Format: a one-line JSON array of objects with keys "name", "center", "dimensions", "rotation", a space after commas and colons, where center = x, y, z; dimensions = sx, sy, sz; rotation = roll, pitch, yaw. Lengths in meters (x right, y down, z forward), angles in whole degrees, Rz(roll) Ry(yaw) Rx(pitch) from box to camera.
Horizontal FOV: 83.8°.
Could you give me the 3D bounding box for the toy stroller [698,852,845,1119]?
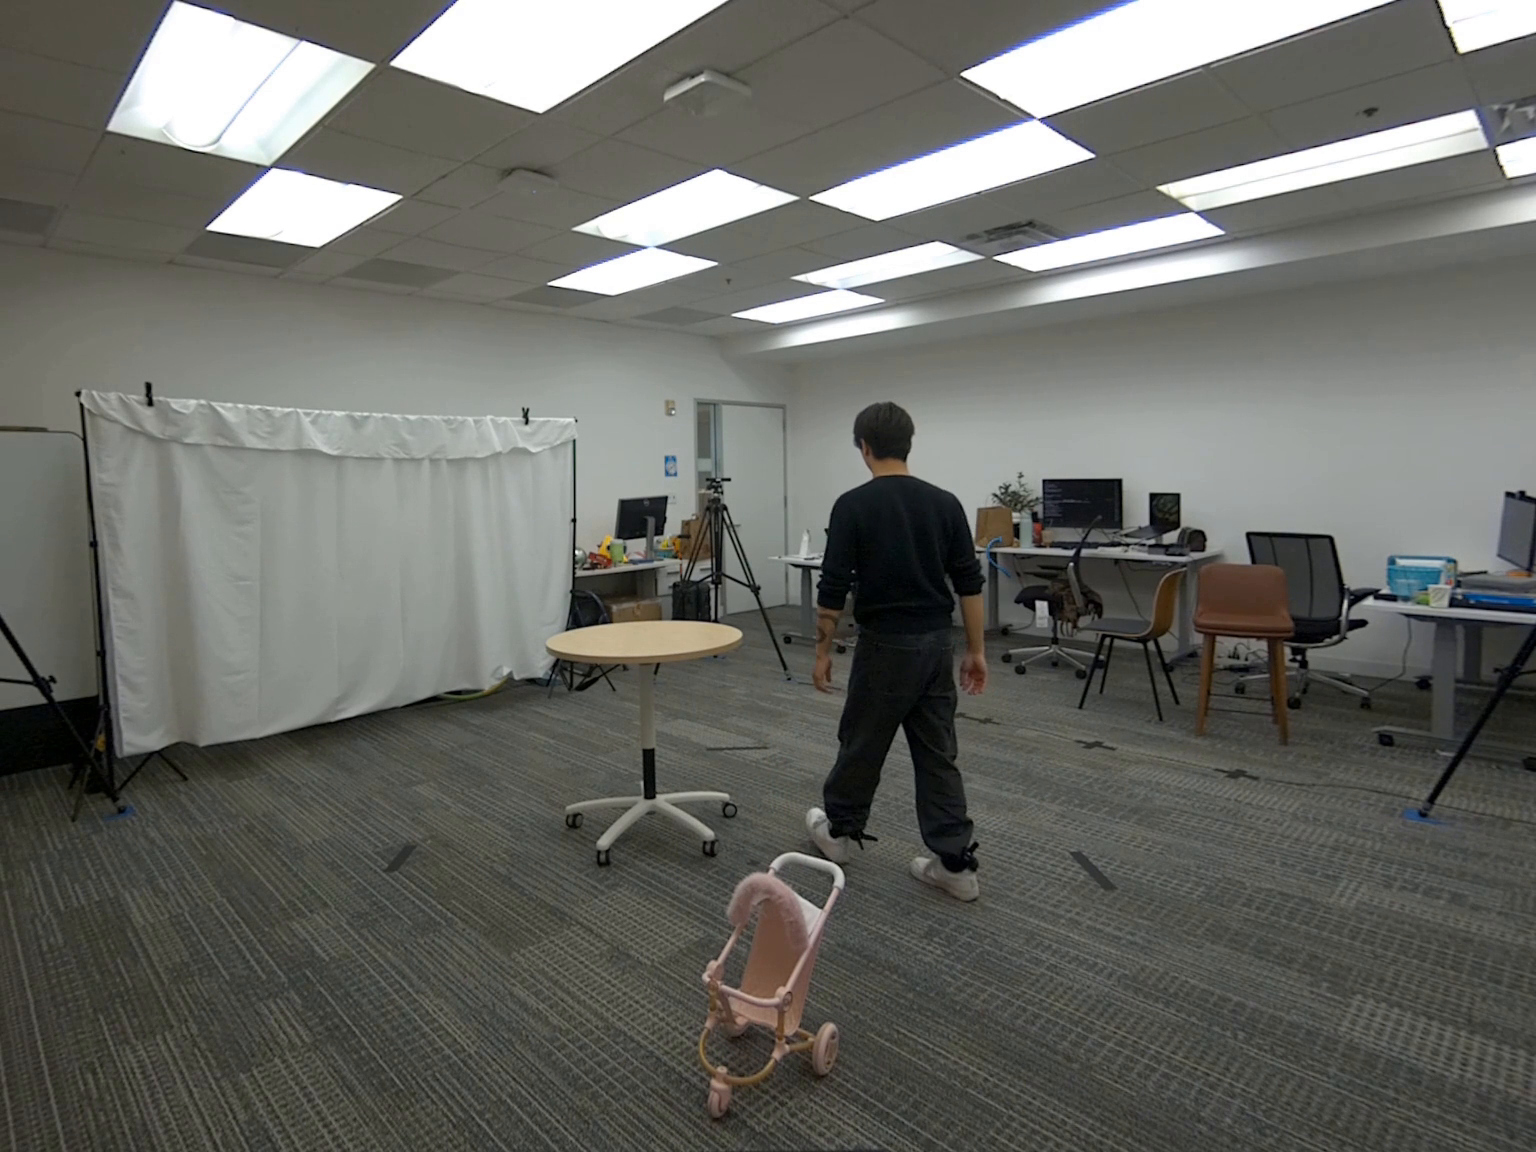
[{"name": "toy stroller", "center": [0.000, 0.948, 2.018], "dimensions": [0.290, 0.539, 0.329], "rotation": [2, -11, 38]}]
